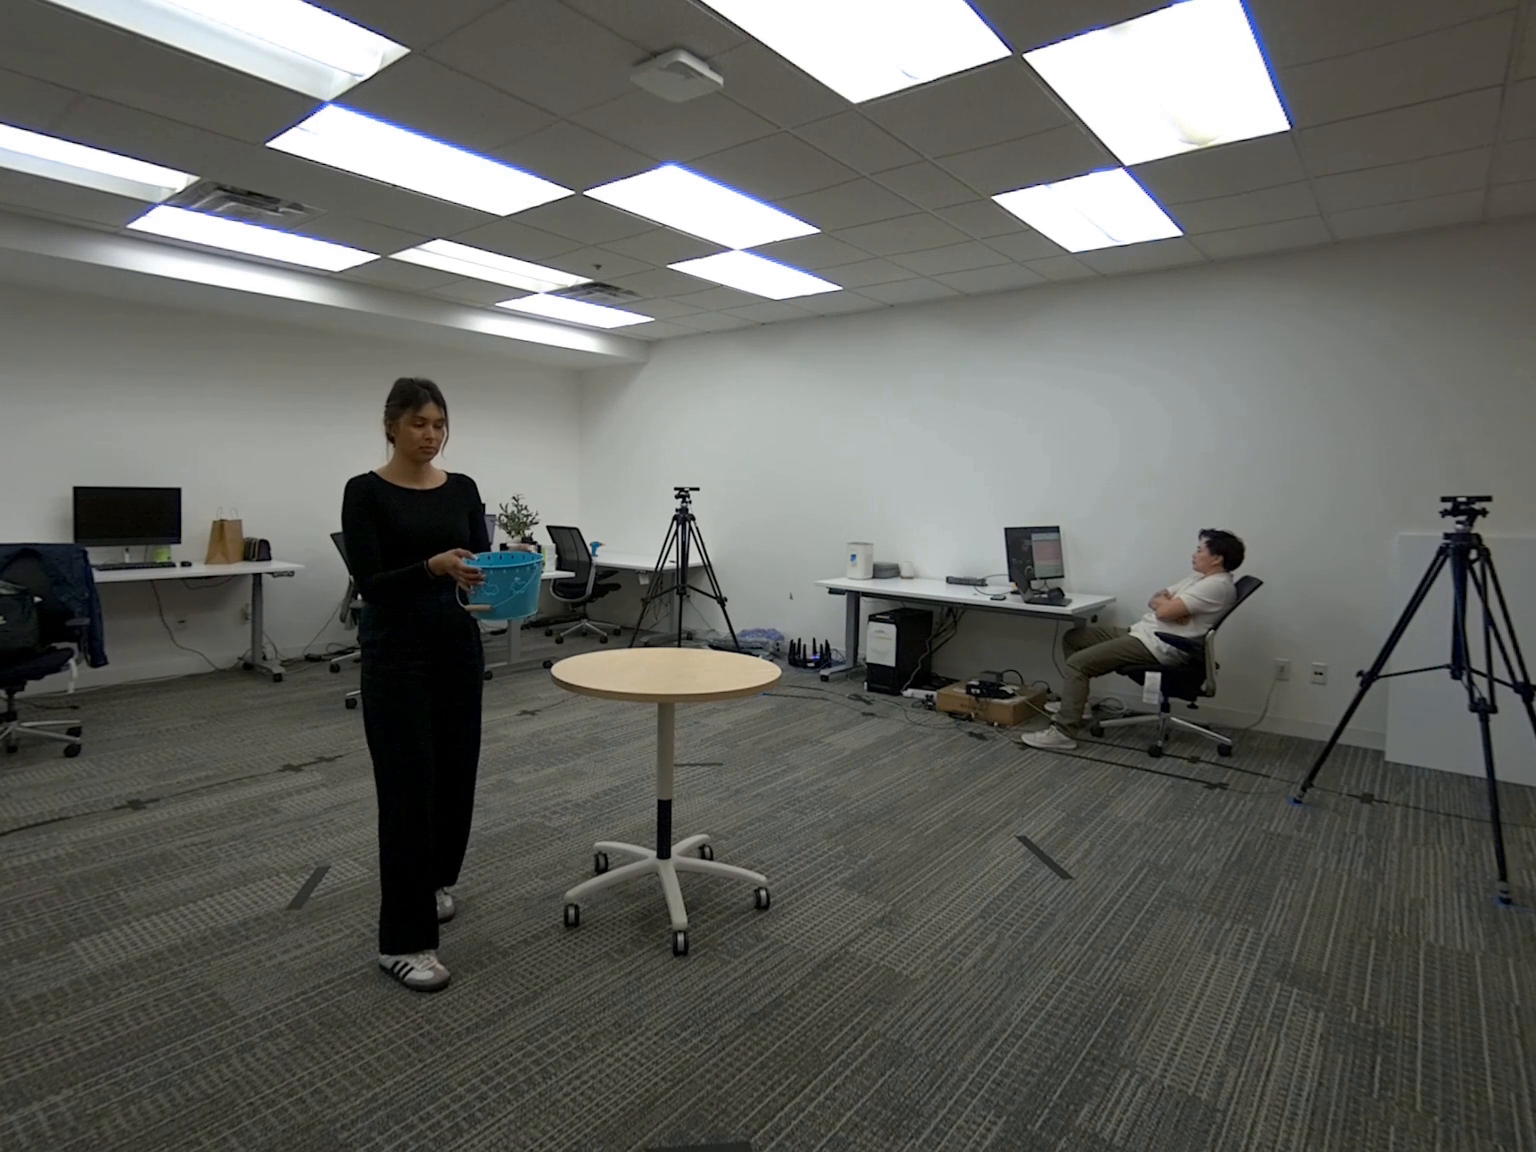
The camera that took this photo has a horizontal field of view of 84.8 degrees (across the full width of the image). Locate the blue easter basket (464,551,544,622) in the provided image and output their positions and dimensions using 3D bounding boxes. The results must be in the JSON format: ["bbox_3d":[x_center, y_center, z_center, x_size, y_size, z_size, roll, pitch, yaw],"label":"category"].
[{"bbox_3d":[-0.761,0.030,2.333,0.243,0.154,0.246,-1,10,-2],"label":"blue easter basket"}]
